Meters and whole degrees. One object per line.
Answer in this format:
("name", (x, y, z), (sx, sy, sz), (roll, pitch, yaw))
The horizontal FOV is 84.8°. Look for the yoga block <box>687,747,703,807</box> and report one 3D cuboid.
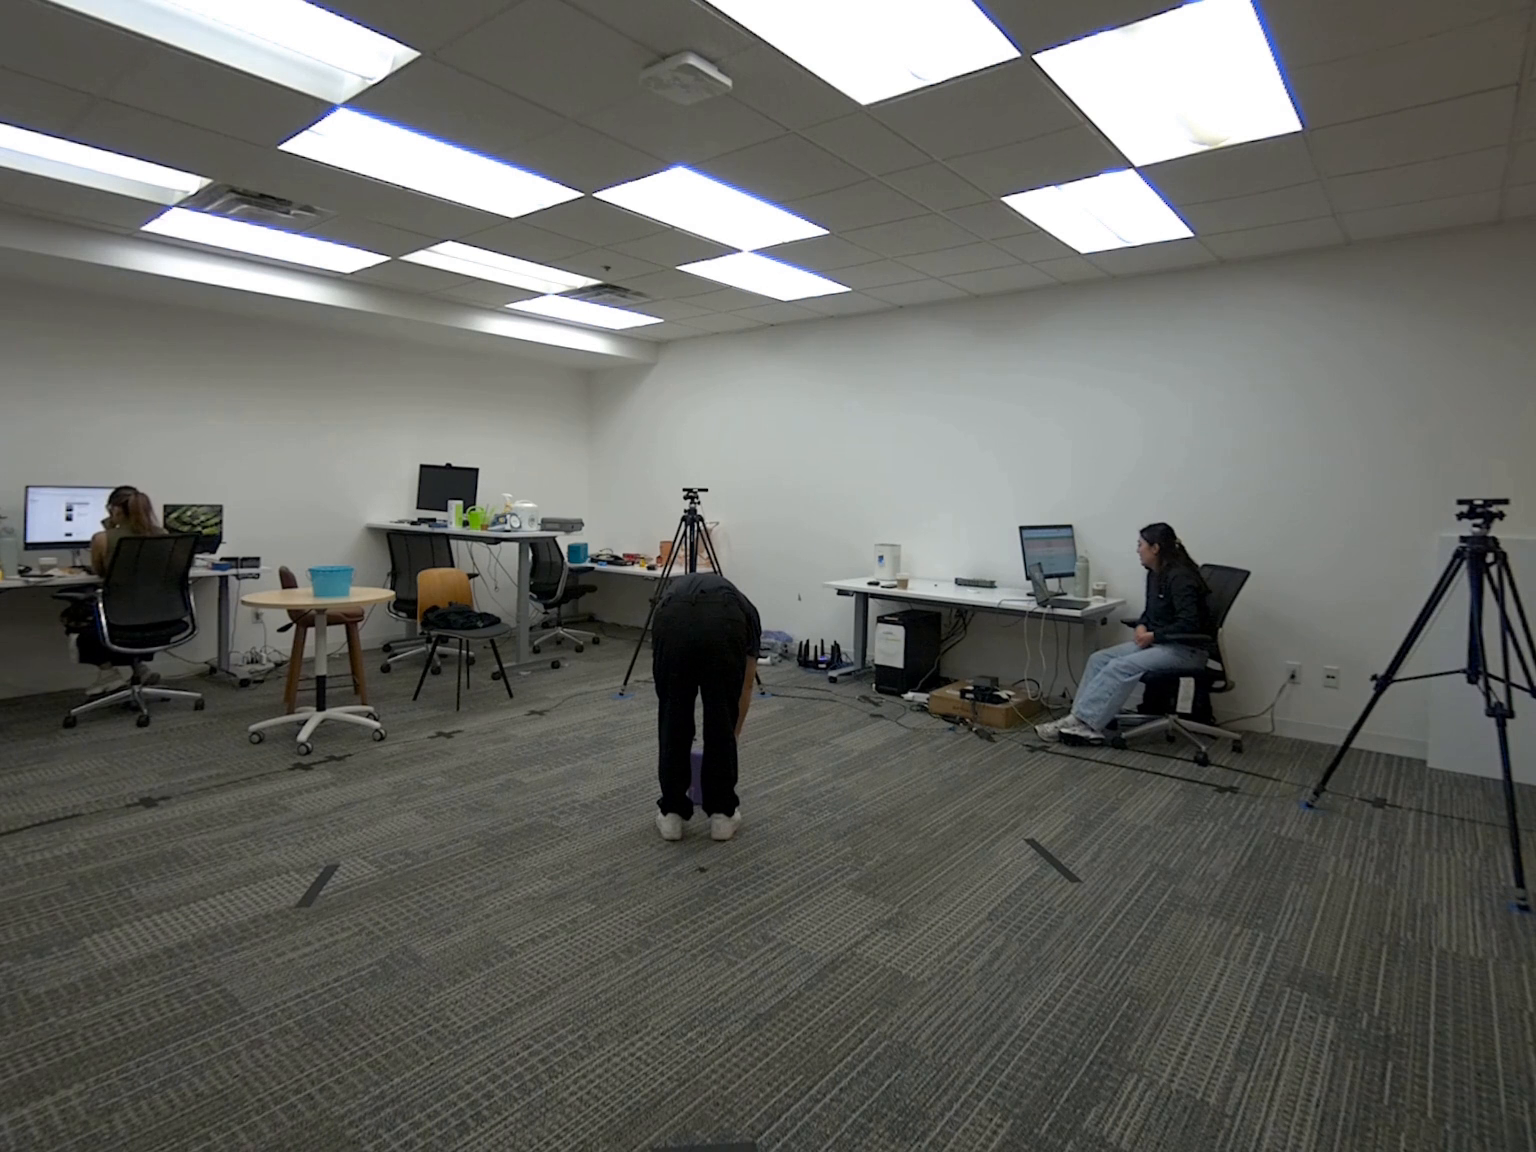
("yoga block", (-0.285, 0.885, 3.760), (0.150, 0.229, 0.076), (2, 2, 4))
